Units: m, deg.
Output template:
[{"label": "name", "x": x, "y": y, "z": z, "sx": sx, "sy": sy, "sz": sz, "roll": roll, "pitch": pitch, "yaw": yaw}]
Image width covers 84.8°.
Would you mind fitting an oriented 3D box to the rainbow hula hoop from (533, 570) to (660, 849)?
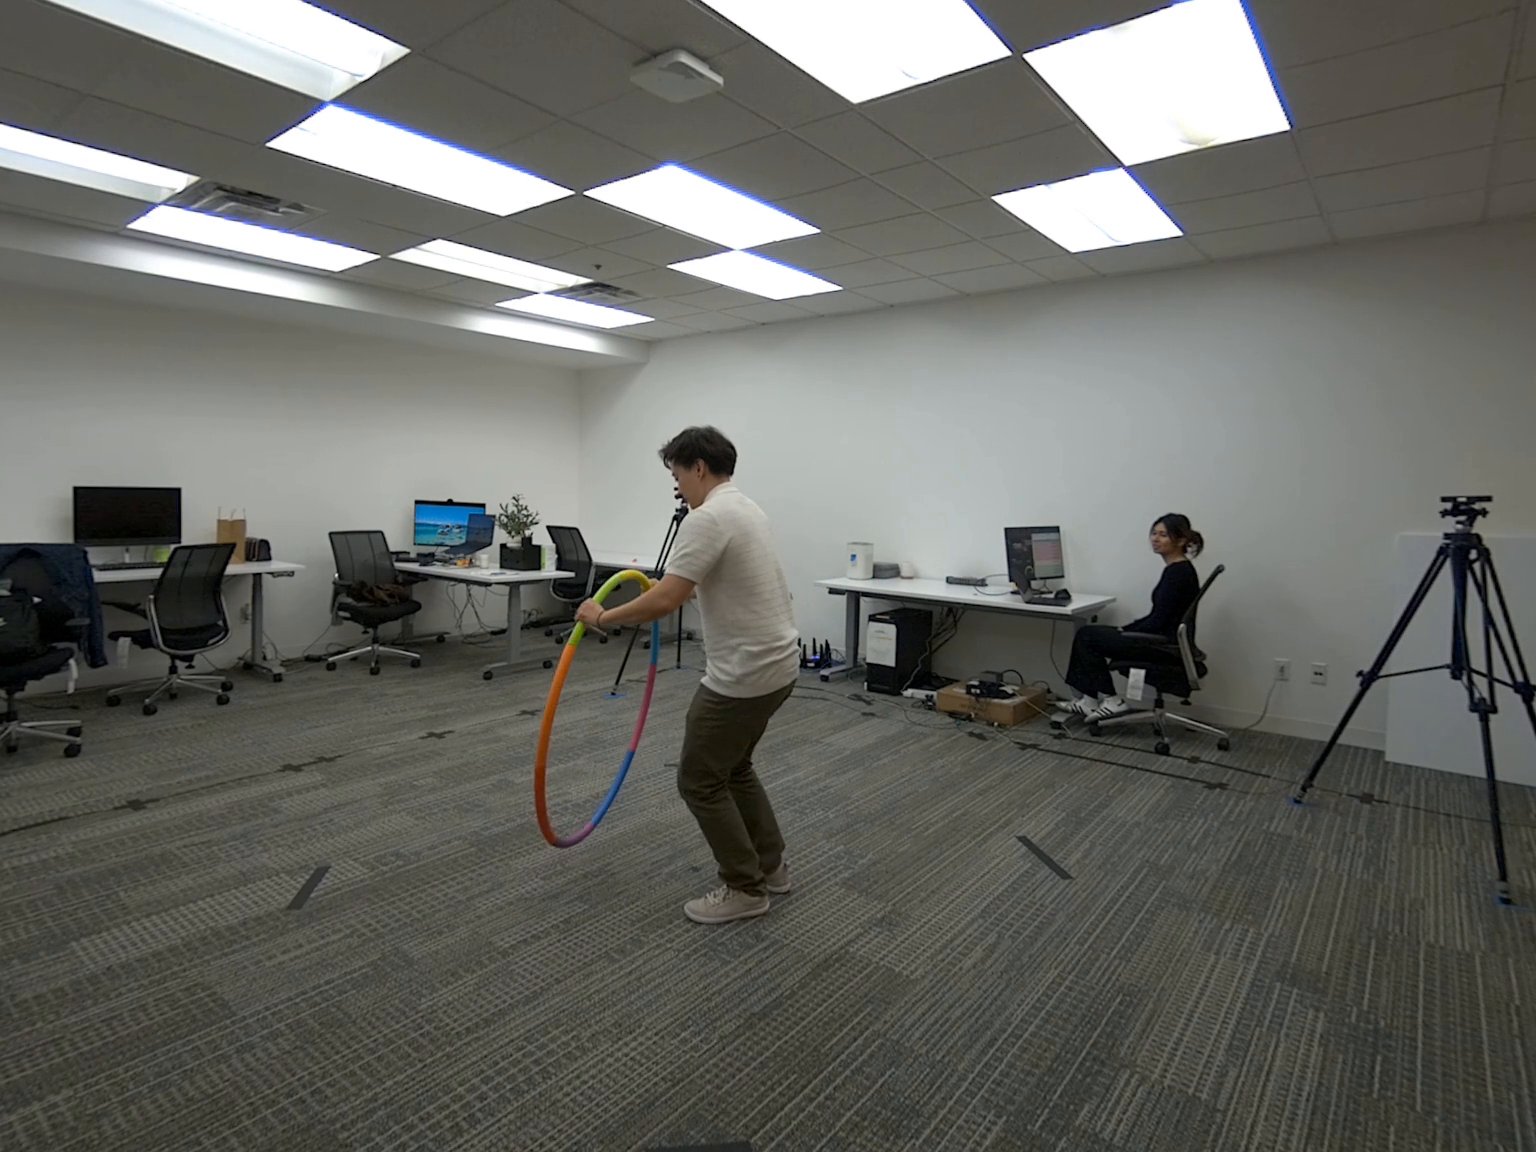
[{"label": "rainbow hula hoop", "x": -0.590, "y": 0.465, "z": 3.037, "sx": 0.036, "sy": 0.974, "sz": 0.966, "roll": 11, "pitch": 6, "yaw": 12}]
